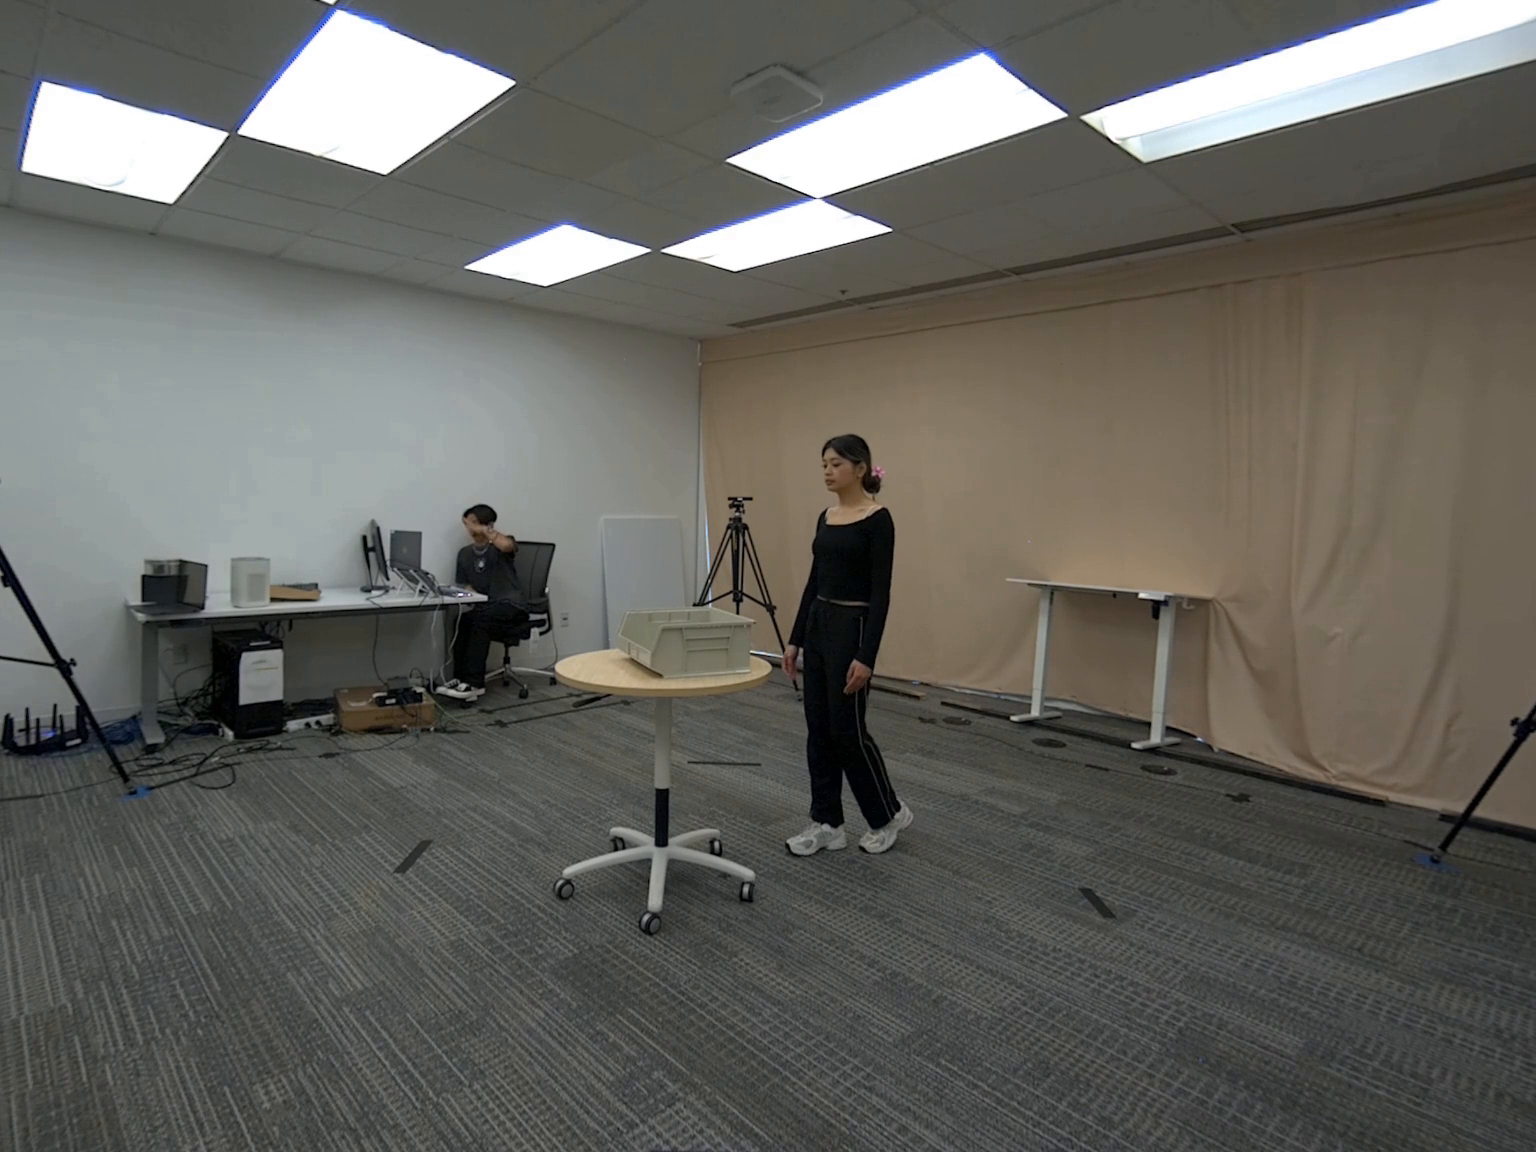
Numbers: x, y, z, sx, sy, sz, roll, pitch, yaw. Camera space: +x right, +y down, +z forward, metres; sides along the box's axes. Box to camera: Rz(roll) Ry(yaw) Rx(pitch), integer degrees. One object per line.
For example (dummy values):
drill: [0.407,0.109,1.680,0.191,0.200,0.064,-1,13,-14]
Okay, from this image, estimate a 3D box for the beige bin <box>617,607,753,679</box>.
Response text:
beige bin: [-0.307,0.232,2.996,0.371,0.188,0.431,0,4,-24]
